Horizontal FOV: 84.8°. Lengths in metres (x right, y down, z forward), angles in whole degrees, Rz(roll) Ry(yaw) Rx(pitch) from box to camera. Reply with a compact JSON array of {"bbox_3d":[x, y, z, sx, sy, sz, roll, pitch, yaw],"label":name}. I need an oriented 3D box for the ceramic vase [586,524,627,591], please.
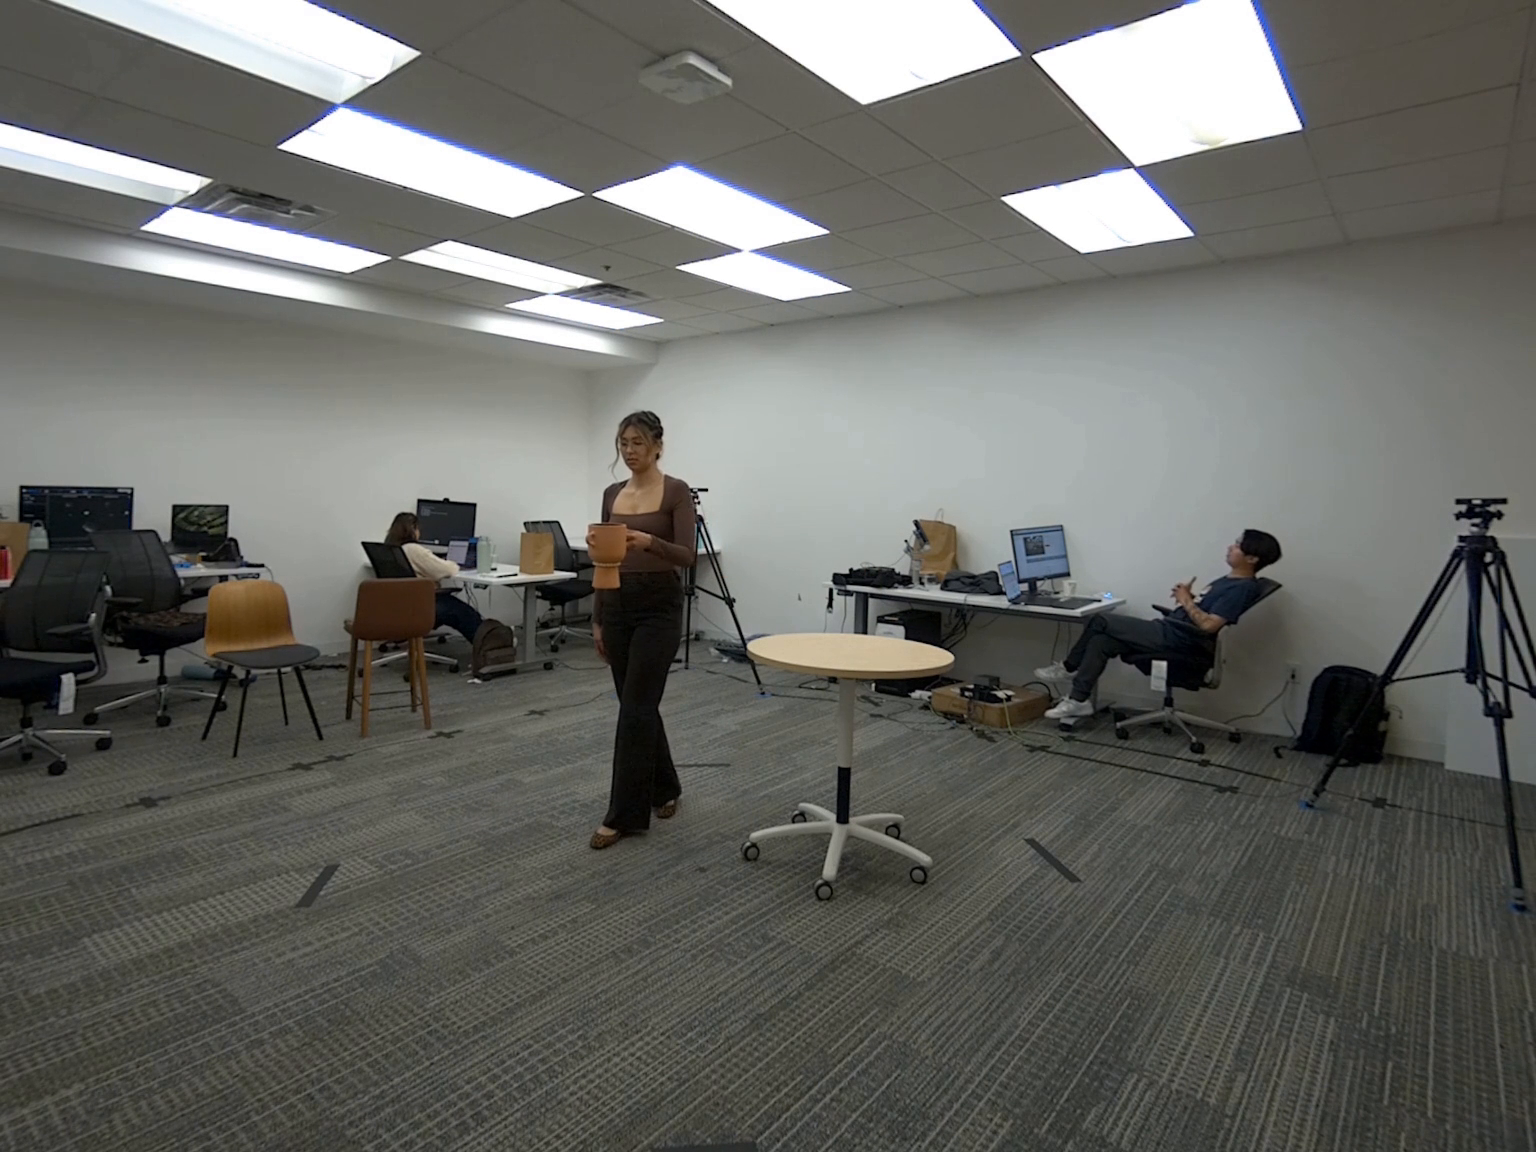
[{"bbox_3d":[-0.574,-0.077,3.000,0.157,0.219,0.137,-1,4,-14],"label":"ceramic vase"}]
